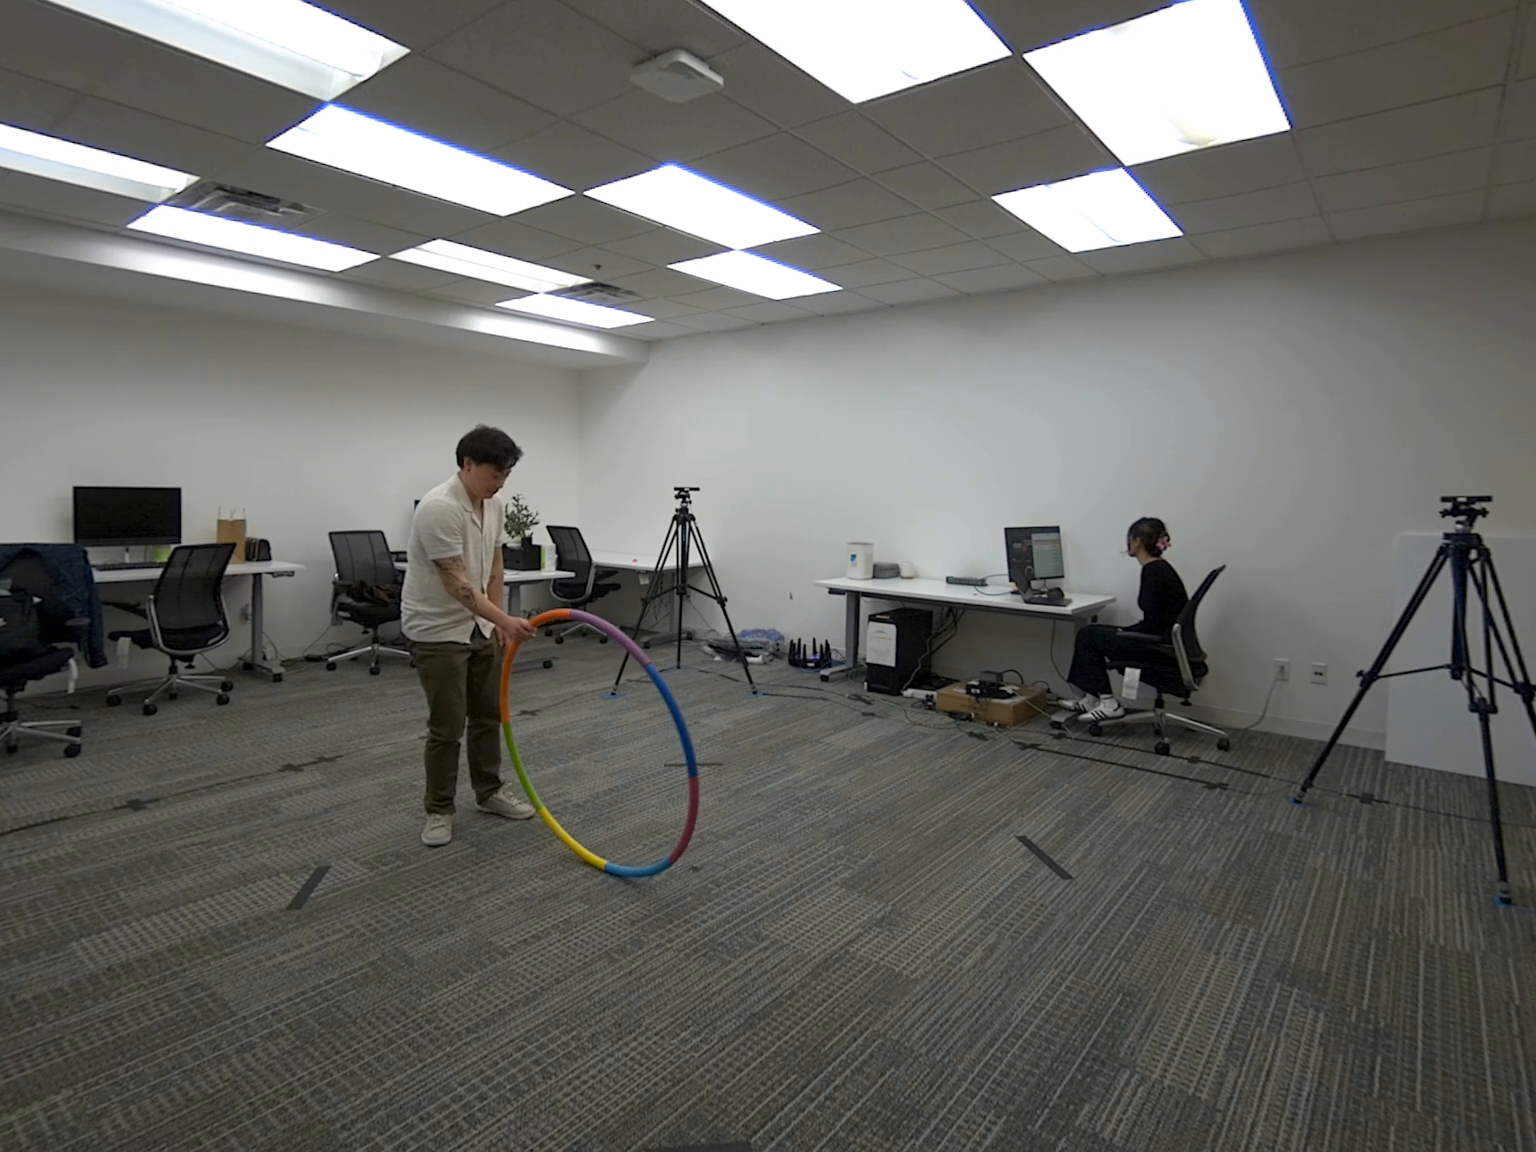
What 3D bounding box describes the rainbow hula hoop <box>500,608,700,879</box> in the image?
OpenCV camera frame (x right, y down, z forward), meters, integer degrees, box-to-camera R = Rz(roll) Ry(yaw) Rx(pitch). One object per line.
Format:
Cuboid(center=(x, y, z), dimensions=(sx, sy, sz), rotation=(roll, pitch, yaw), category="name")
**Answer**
Cuboid(center=(-0.637, 0.593, 2.995), dimensions=(1.011, 0.967, 0.035), rotation=(4, 14, 38), category="rainbow hula hoop")
